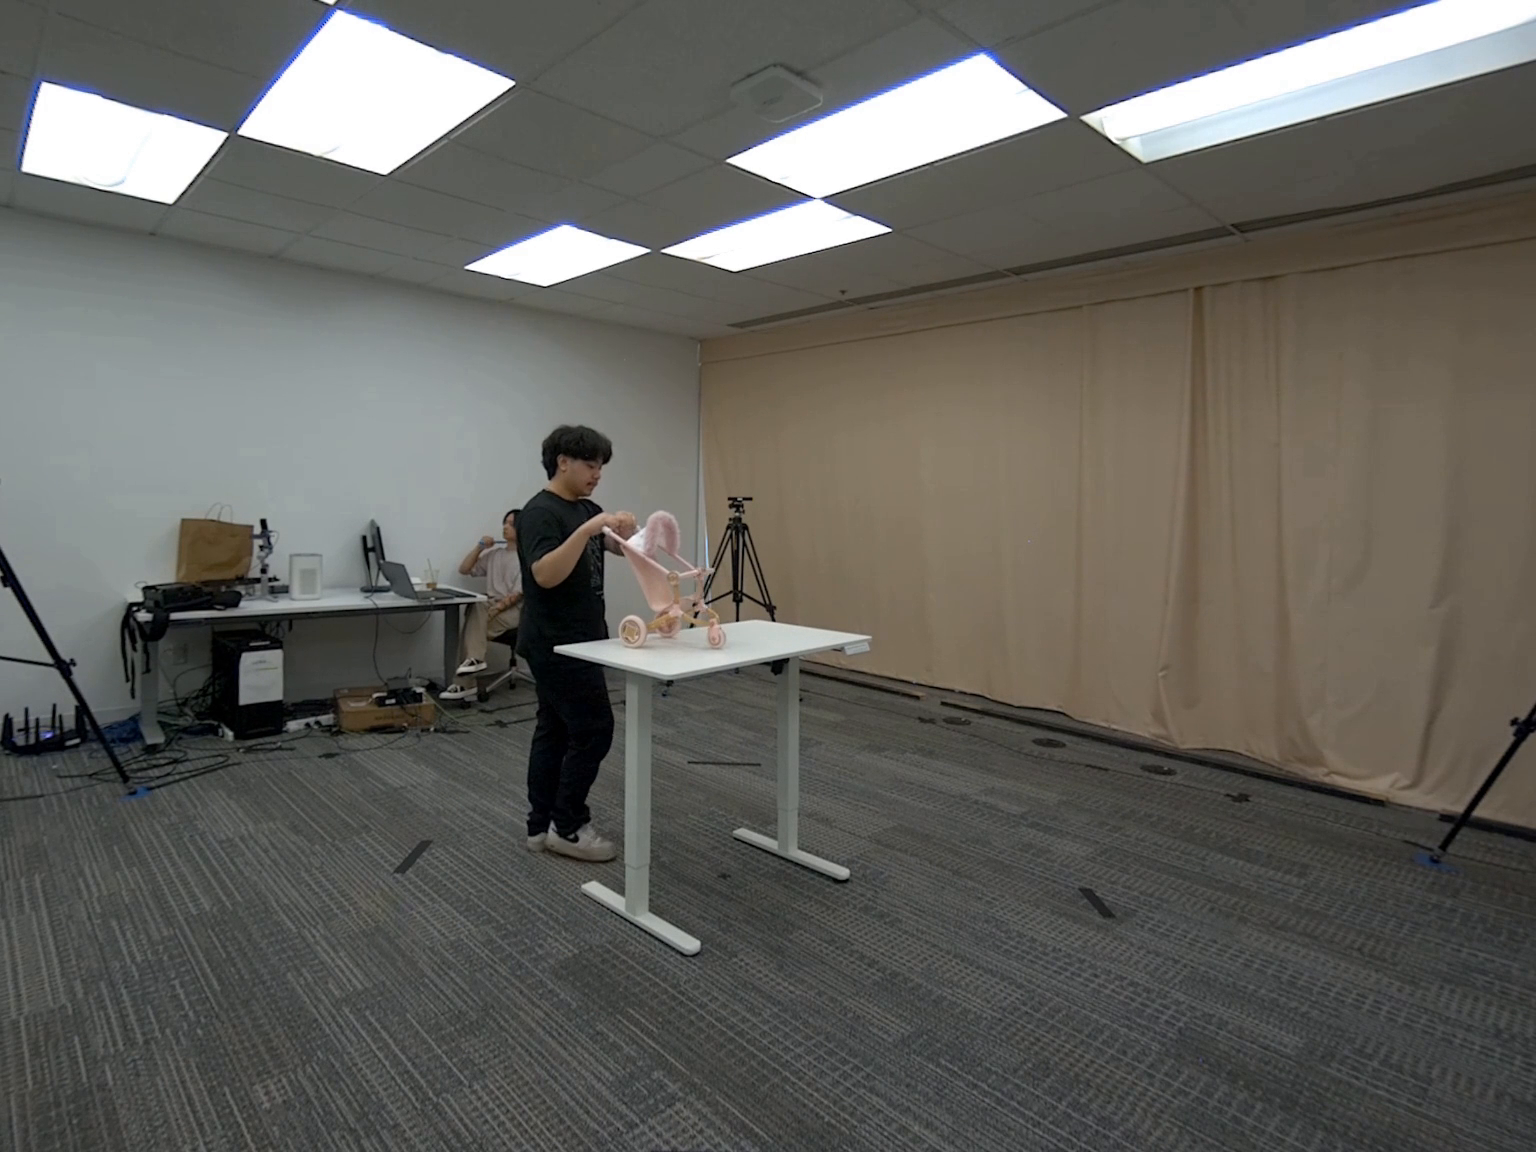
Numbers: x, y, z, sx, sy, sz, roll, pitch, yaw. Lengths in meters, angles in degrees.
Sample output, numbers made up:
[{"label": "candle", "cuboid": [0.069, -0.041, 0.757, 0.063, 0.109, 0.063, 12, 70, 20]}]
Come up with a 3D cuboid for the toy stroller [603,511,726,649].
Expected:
[{"label": "toy stroller", "cuboid": [-0.356, 0.018, 2.914, 0.346, 0.537, 0.276, -15, -4, 29]}]
